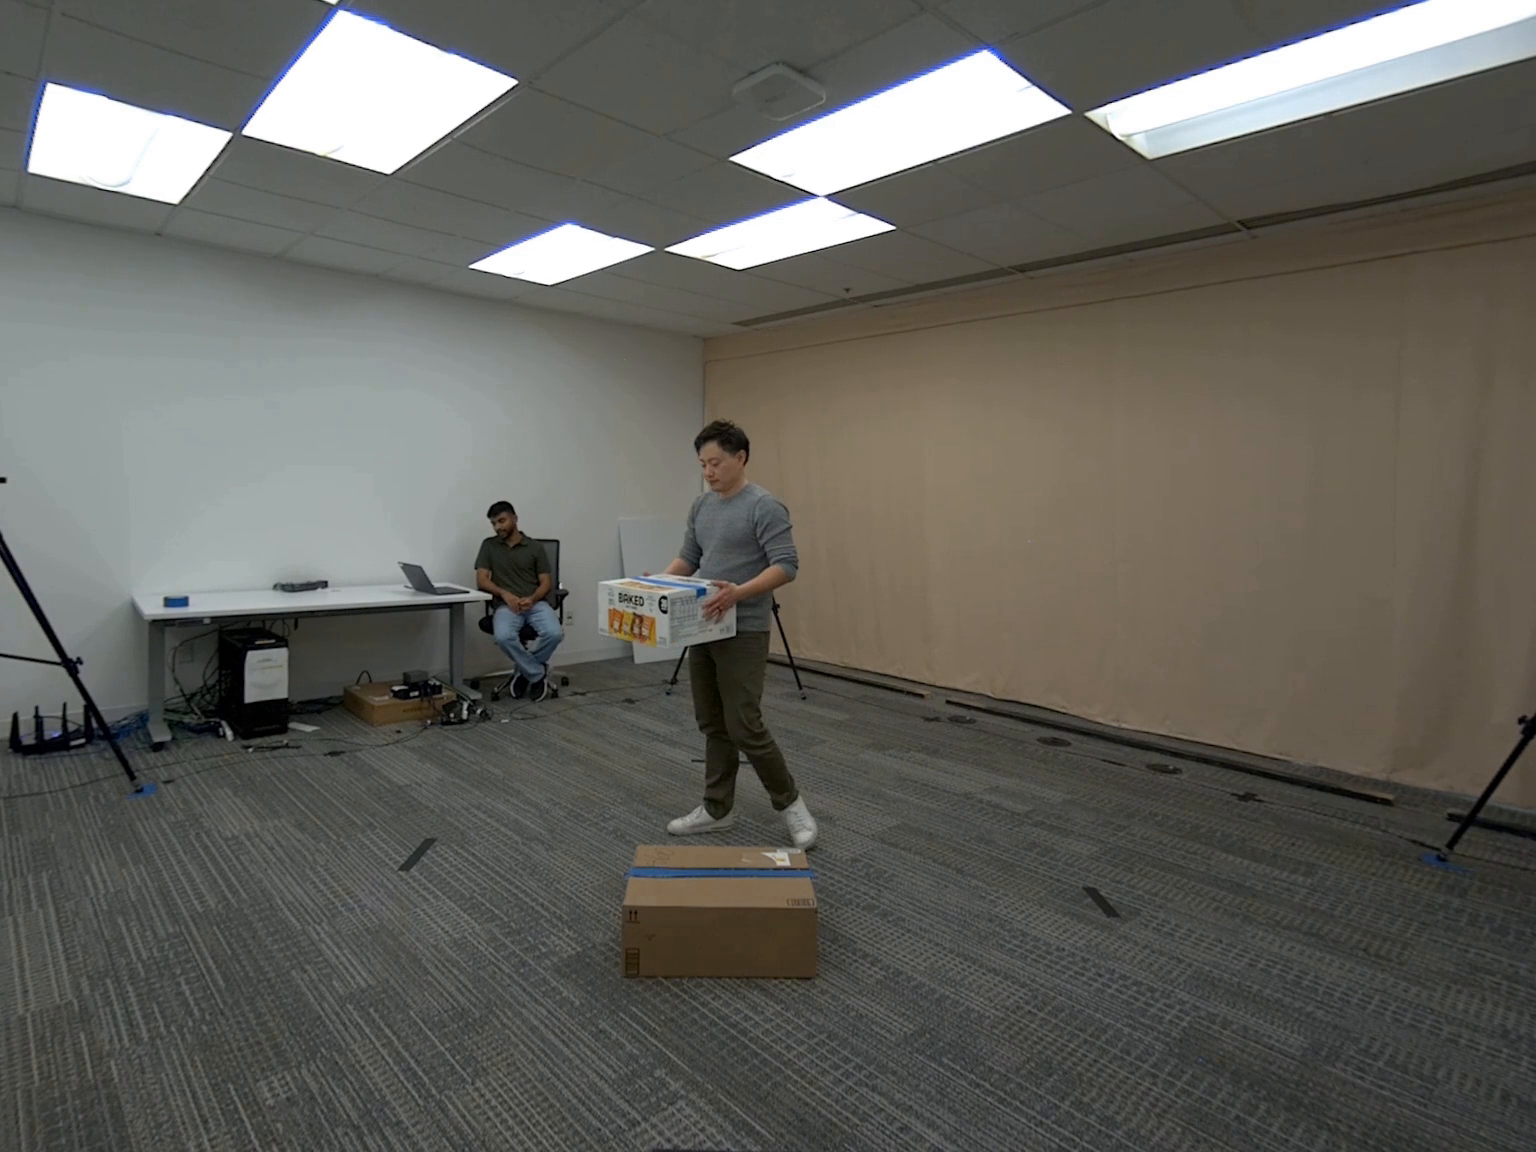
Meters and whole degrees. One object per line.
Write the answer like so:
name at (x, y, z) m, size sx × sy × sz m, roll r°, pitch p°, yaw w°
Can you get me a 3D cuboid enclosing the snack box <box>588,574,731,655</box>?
snack box at (-0.408, 0.130, 3.169) m, size 0.415 × 0.204 × 0.333 m, roll 6°, pitch 10°, yaw 40°
